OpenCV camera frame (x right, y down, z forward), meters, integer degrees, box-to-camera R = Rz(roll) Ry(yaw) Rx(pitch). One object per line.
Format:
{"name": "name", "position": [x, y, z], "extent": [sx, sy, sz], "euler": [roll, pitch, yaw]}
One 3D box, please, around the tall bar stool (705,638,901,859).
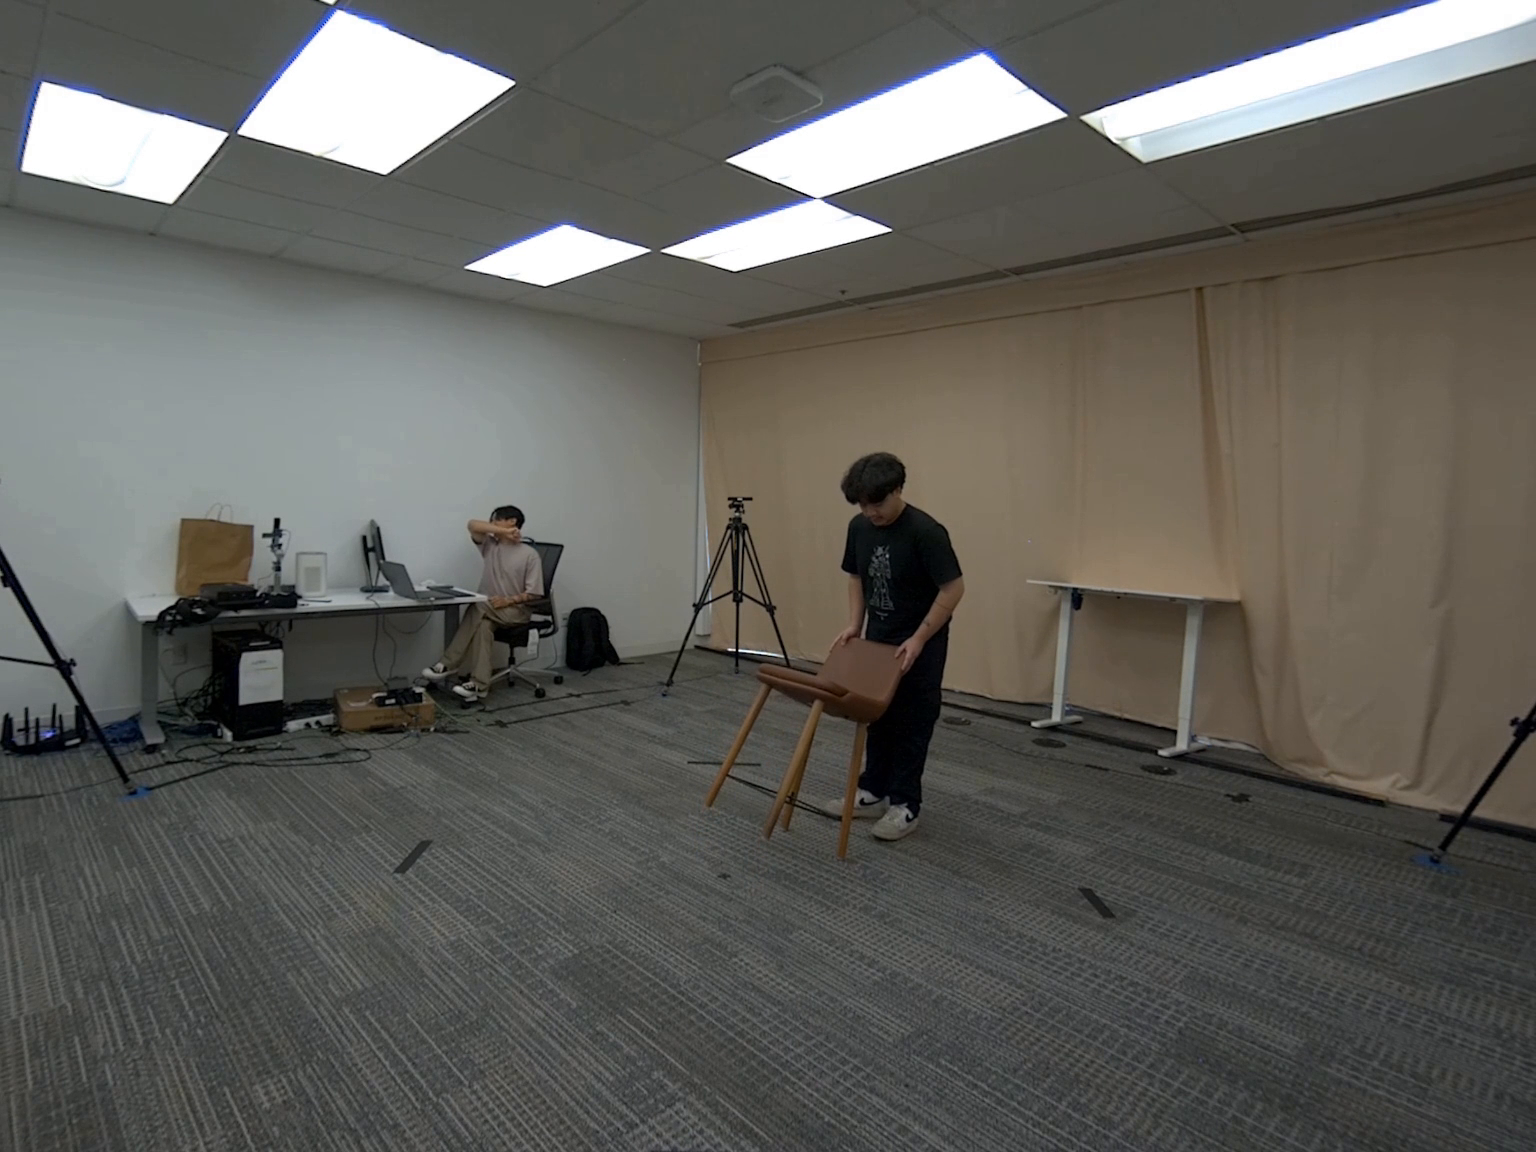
{"name": "tall bar stool", "position": [0.169, 0.606, 3.383], "extent": [0.454, 0.894, 0.468], "euler": [30, -14, -34]}
